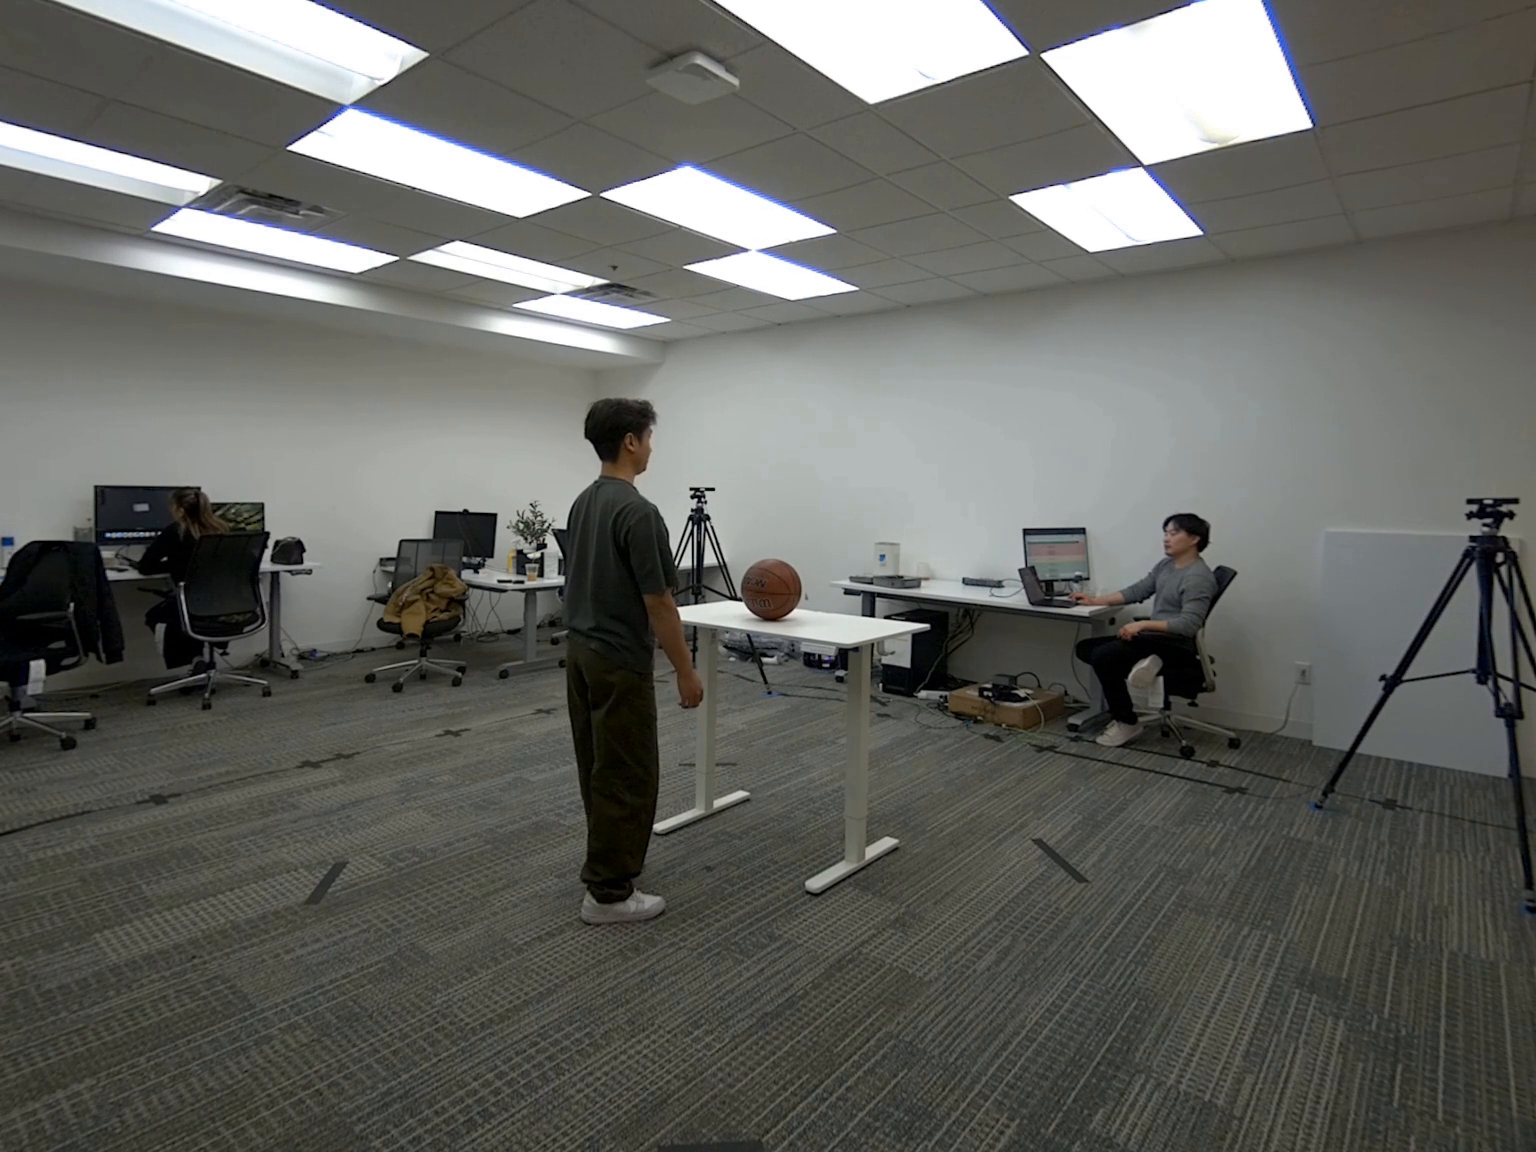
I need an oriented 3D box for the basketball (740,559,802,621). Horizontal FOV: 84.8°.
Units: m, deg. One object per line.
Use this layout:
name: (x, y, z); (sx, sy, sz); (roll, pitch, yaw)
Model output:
basketball: (0.005, 0.051, 3.329); (0.235, 0.235, 0.237); (1, 4, -2)
